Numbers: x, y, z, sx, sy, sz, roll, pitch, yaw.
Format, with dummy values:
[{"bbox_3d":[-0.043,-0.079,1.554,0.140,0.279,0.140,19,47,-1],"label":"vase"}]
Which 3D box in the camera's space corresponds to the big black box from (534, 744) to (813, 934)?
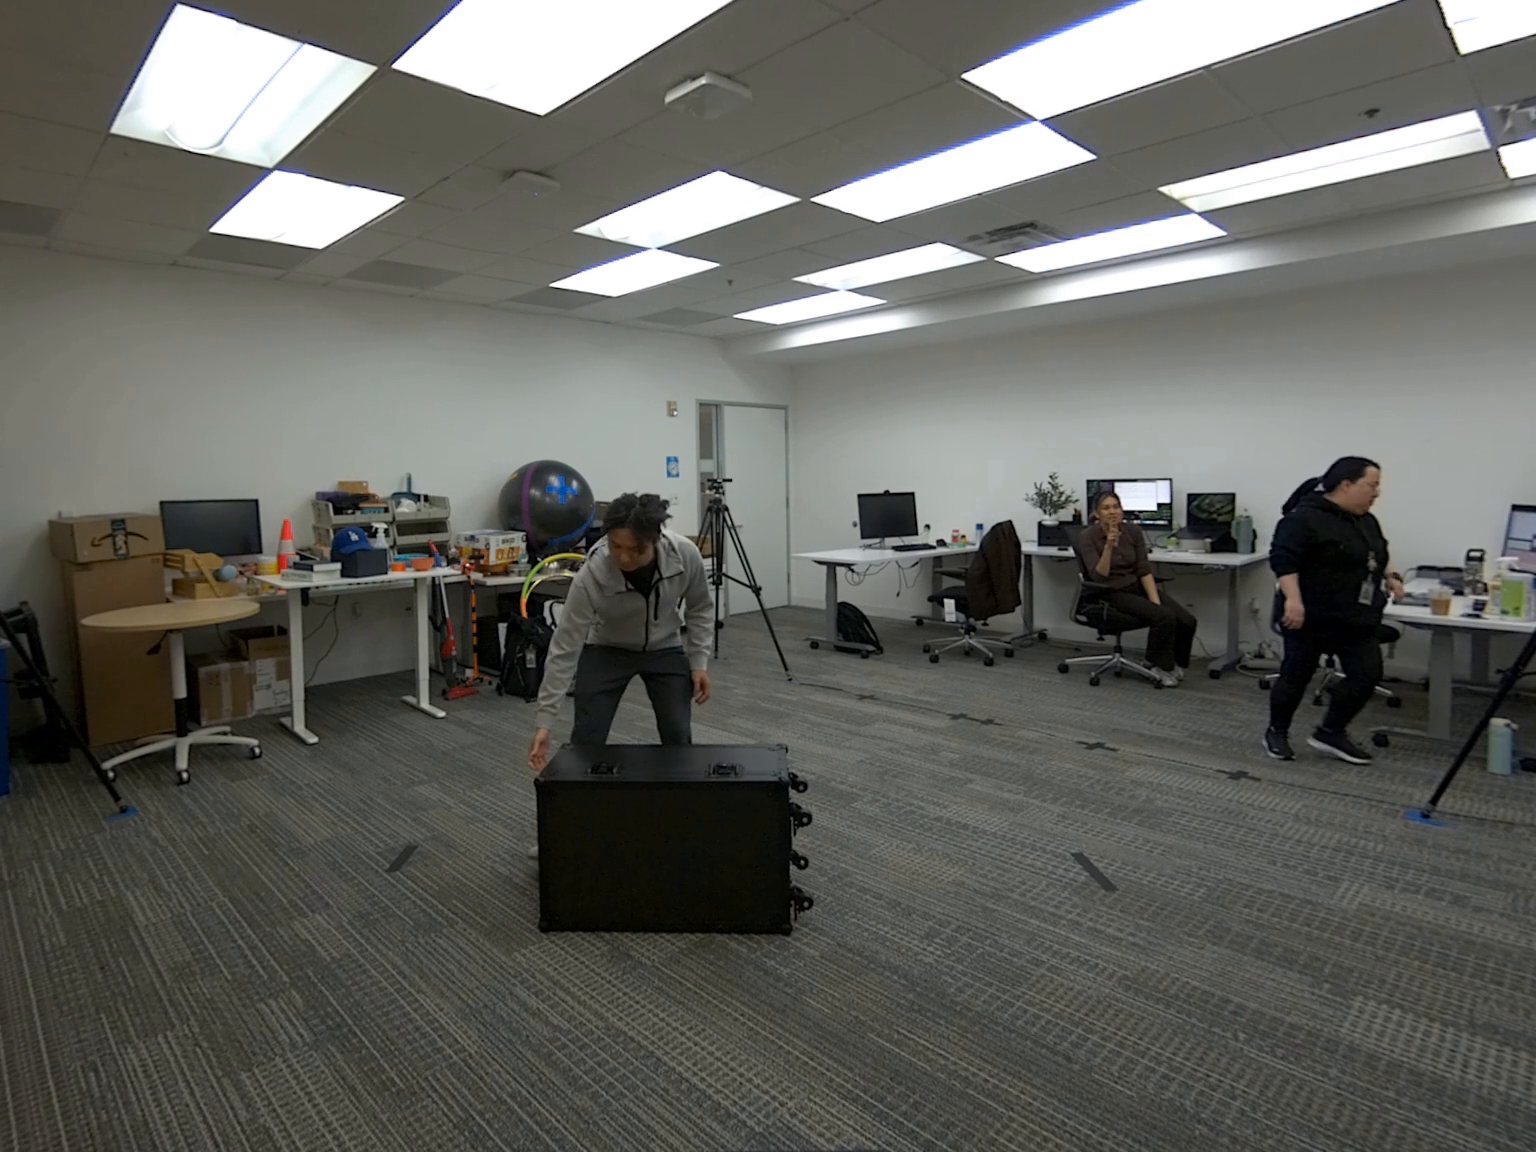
[{"bbox_3d":[-0.287,0.838,2.803,0.865,0.519,0.396,-1,4,4],"label":"big black box"}]
